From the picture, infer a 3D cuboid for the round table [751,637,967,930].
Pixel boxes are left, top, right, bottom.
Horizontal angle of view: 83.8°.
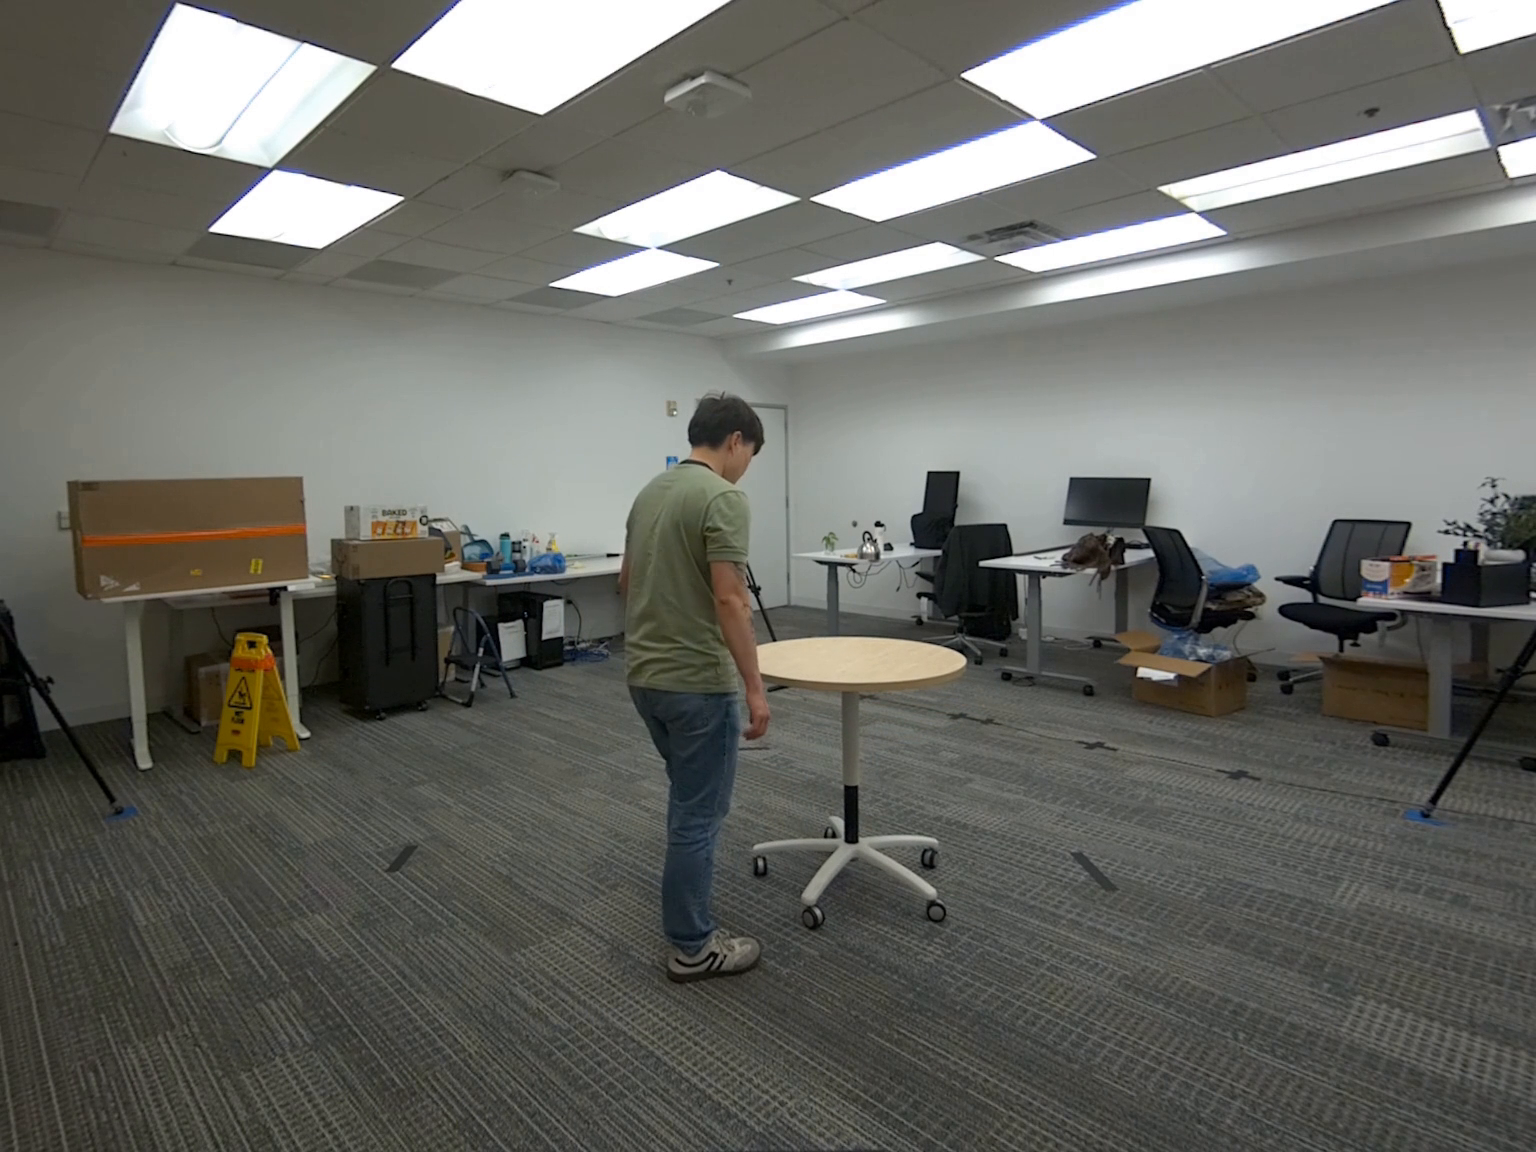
[{"bbox_3d":[0.294,0.670,2.929,0.763,0.791,0.768,-1,5,-2],"label":"round table"}]
